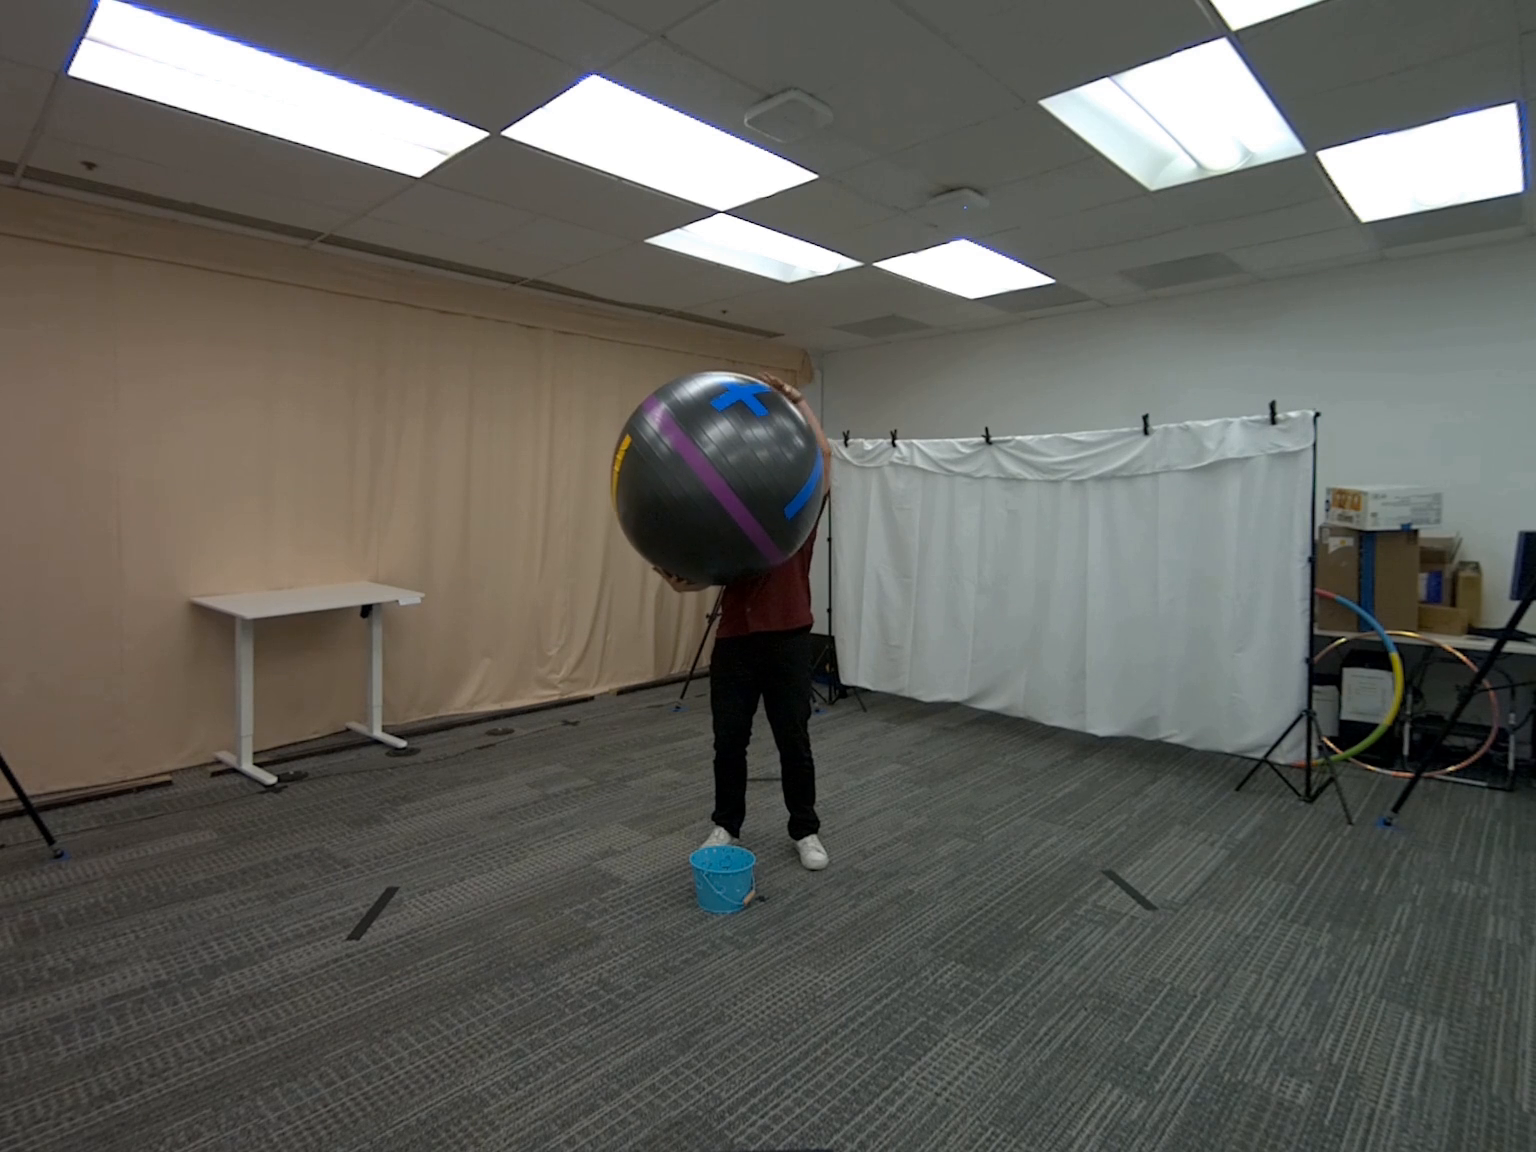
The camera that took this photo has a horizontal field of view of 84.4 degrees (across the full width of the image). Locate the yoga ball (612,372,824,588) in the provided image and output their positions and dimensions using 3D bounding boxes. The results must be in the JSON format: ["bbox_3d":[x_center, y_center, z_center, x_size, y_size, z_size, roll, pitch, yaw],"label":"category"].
[{"bbox_3d":[-0.186,-0.340,3.004,0.757,0.756,0.760,0,4,-2],"label":"yoga ball"}]
